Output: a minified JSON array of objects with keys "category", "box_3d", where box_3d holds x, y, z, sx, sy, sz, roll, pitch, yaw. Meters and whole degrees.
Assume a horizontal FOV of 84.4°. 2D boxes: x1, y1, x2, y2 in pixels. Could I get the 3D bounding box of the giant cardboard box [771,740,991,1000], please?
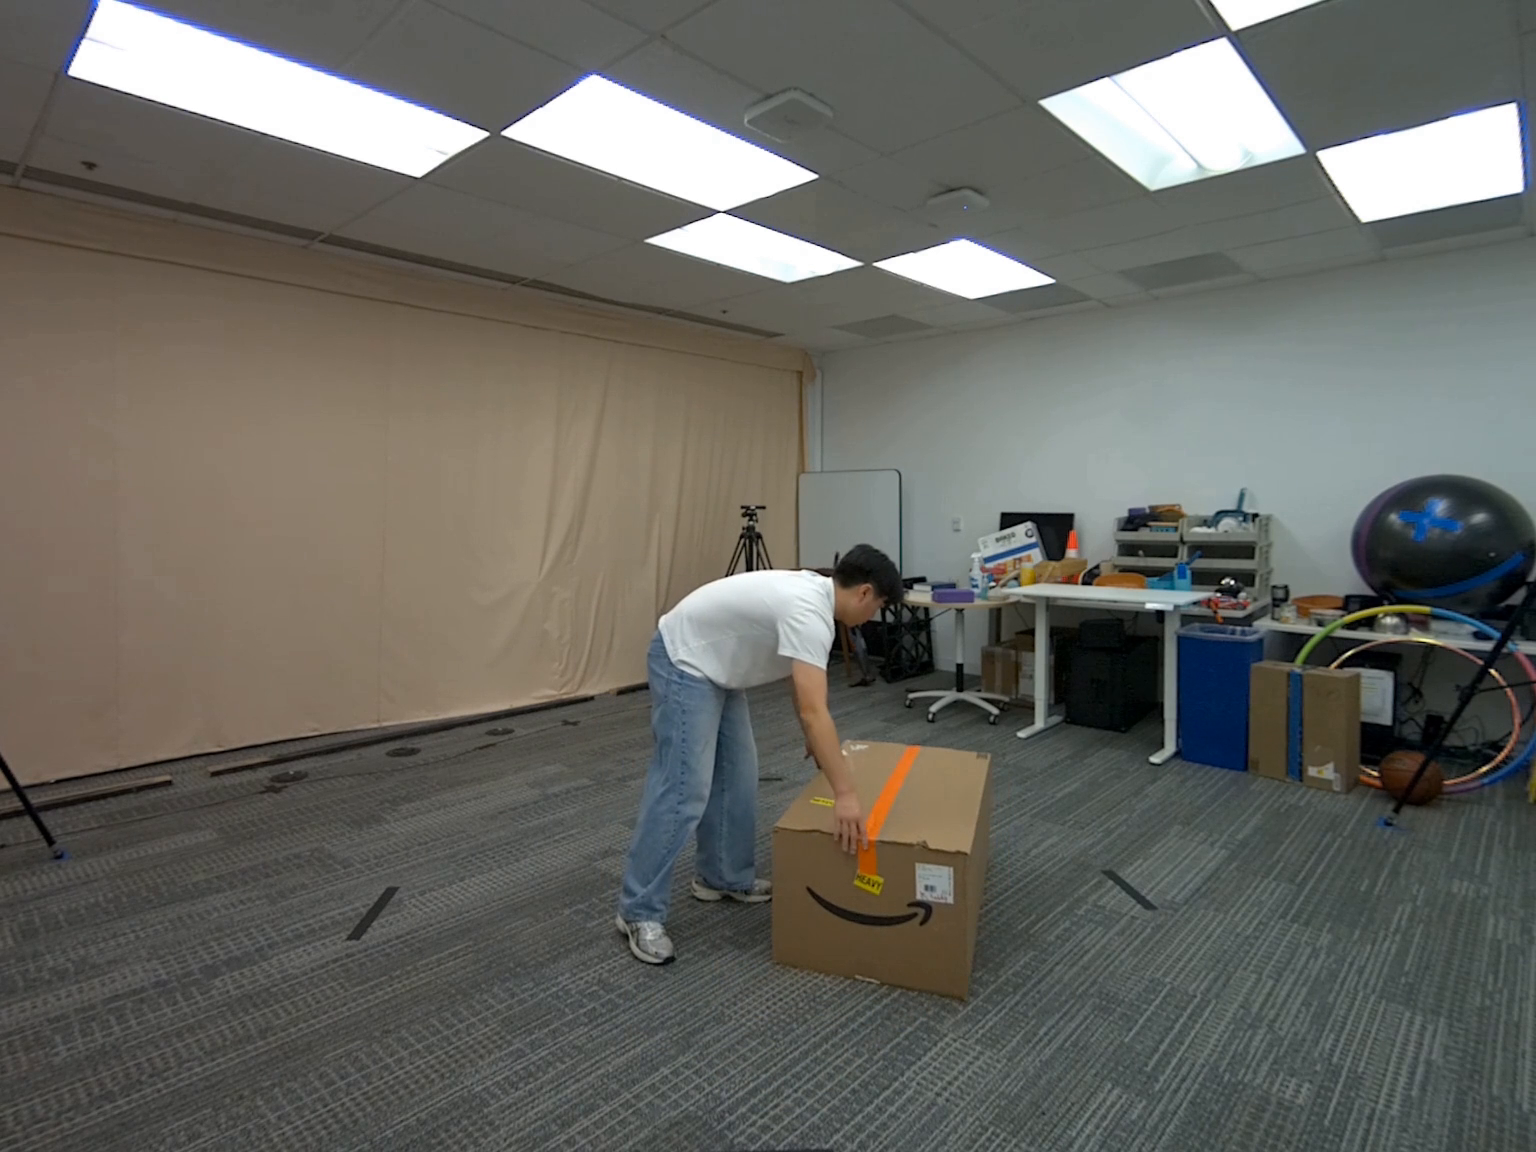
[{"category":"giant cardboard box","box_3d":[0.441,0.932,2.915,0.589,0.425,1.007,0,4,19]}]
